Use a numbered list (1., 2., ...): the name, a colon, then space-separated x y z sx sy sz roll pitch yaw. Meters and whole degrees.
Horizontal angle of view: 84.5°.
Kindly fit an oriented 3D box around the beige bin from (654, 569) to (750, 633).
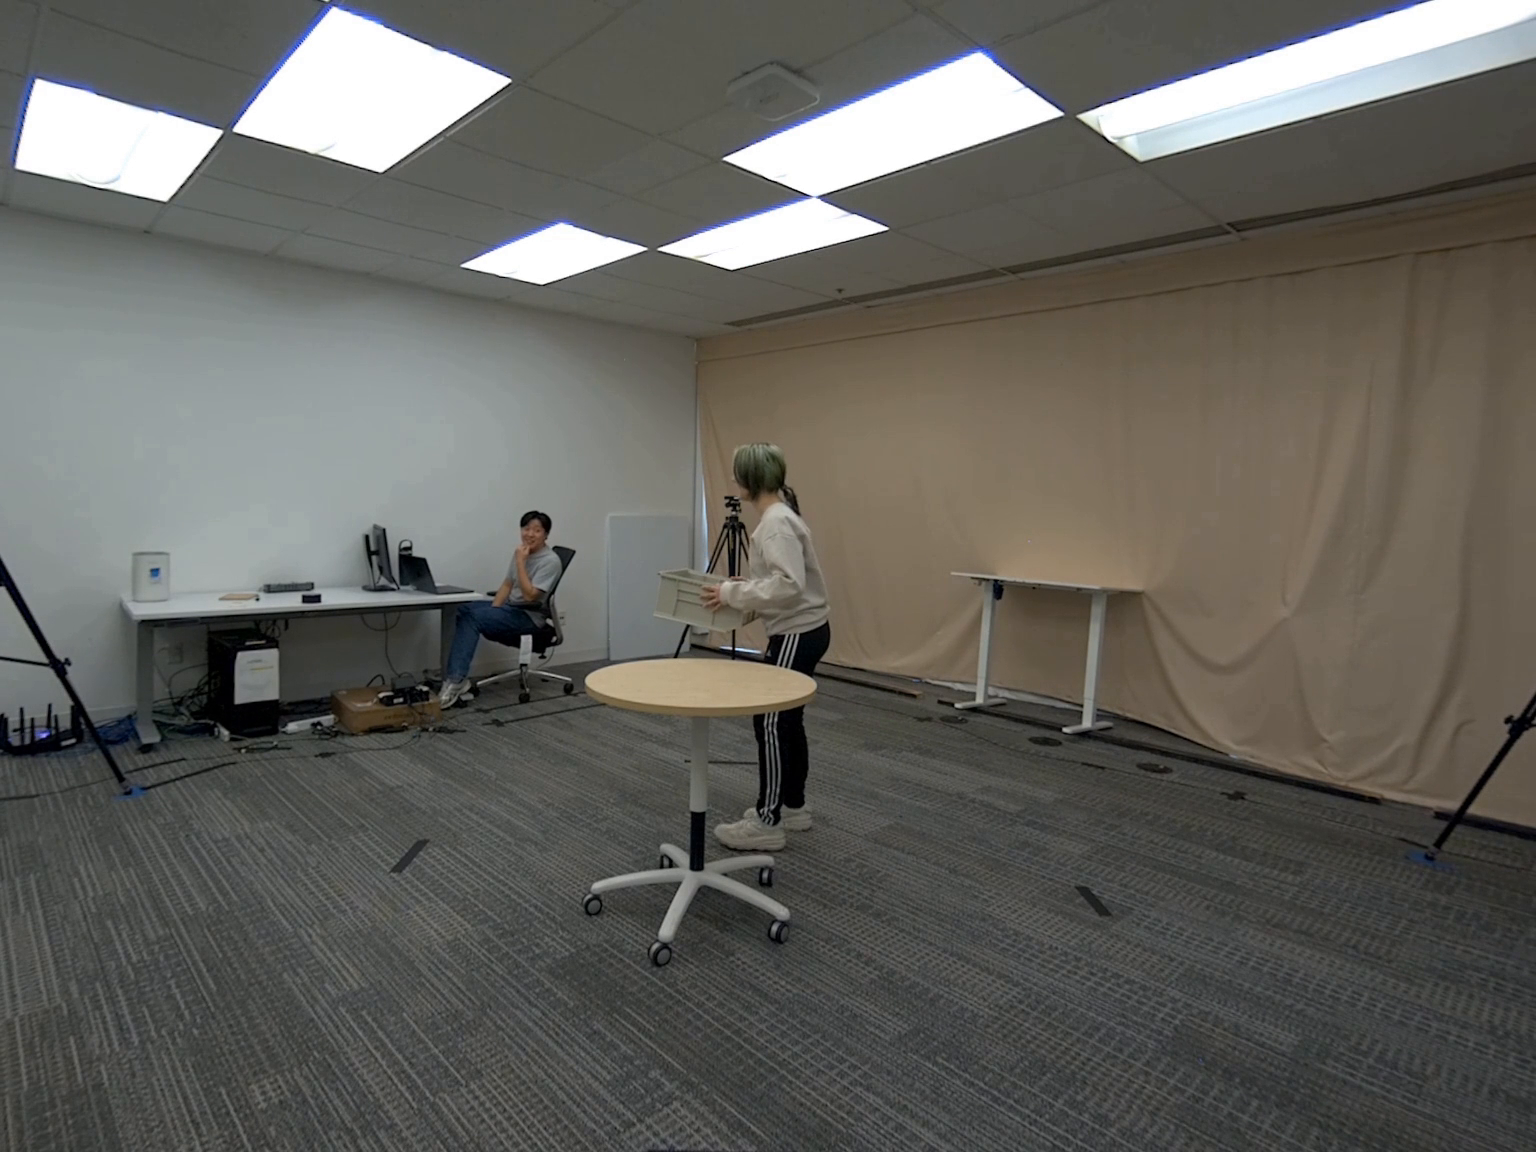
1. beige bin: -0.238 0.097 3.545 0.381 0.188 0.419 9 4 10
